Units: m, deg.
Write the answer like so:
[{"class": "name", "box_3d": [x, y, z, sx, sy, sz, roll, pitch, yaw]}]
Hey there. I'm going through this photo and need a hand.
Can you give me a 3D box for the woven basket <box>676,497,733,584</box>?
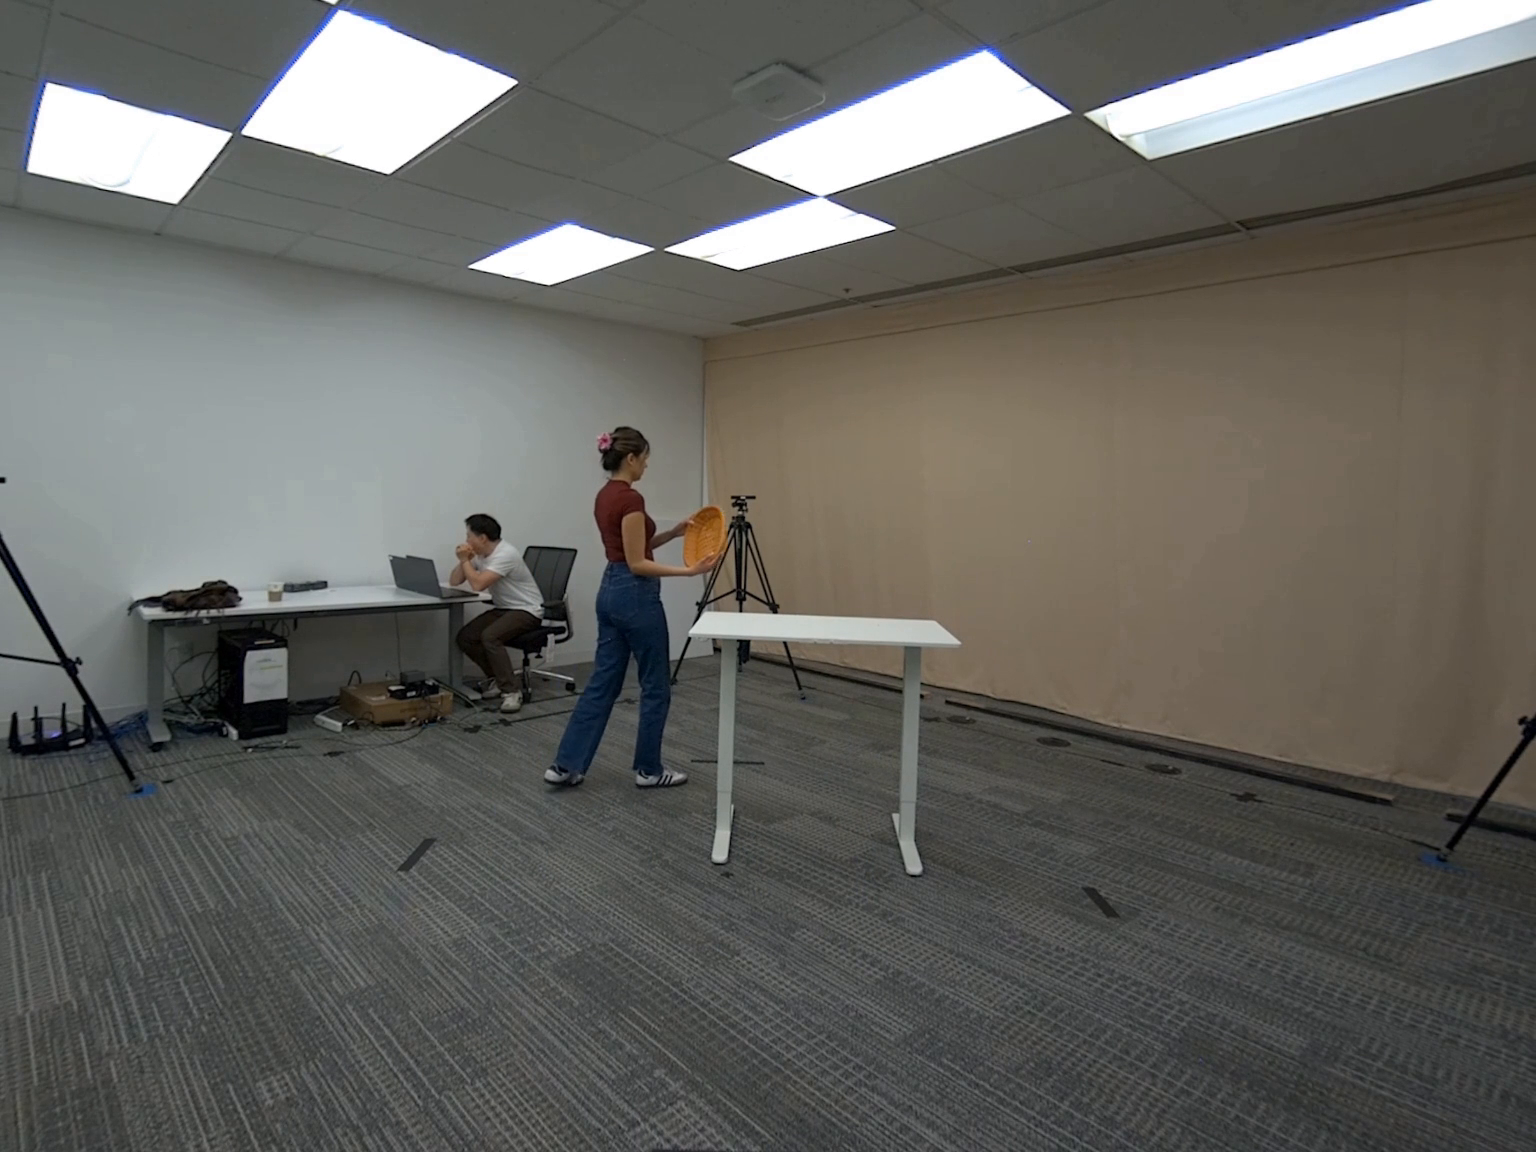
[{"class": "woven basket", "box_3d": [-0.300, -0.168, 3.958, 0.255, 0.357, 0.071, -22, -40, 33]}]
